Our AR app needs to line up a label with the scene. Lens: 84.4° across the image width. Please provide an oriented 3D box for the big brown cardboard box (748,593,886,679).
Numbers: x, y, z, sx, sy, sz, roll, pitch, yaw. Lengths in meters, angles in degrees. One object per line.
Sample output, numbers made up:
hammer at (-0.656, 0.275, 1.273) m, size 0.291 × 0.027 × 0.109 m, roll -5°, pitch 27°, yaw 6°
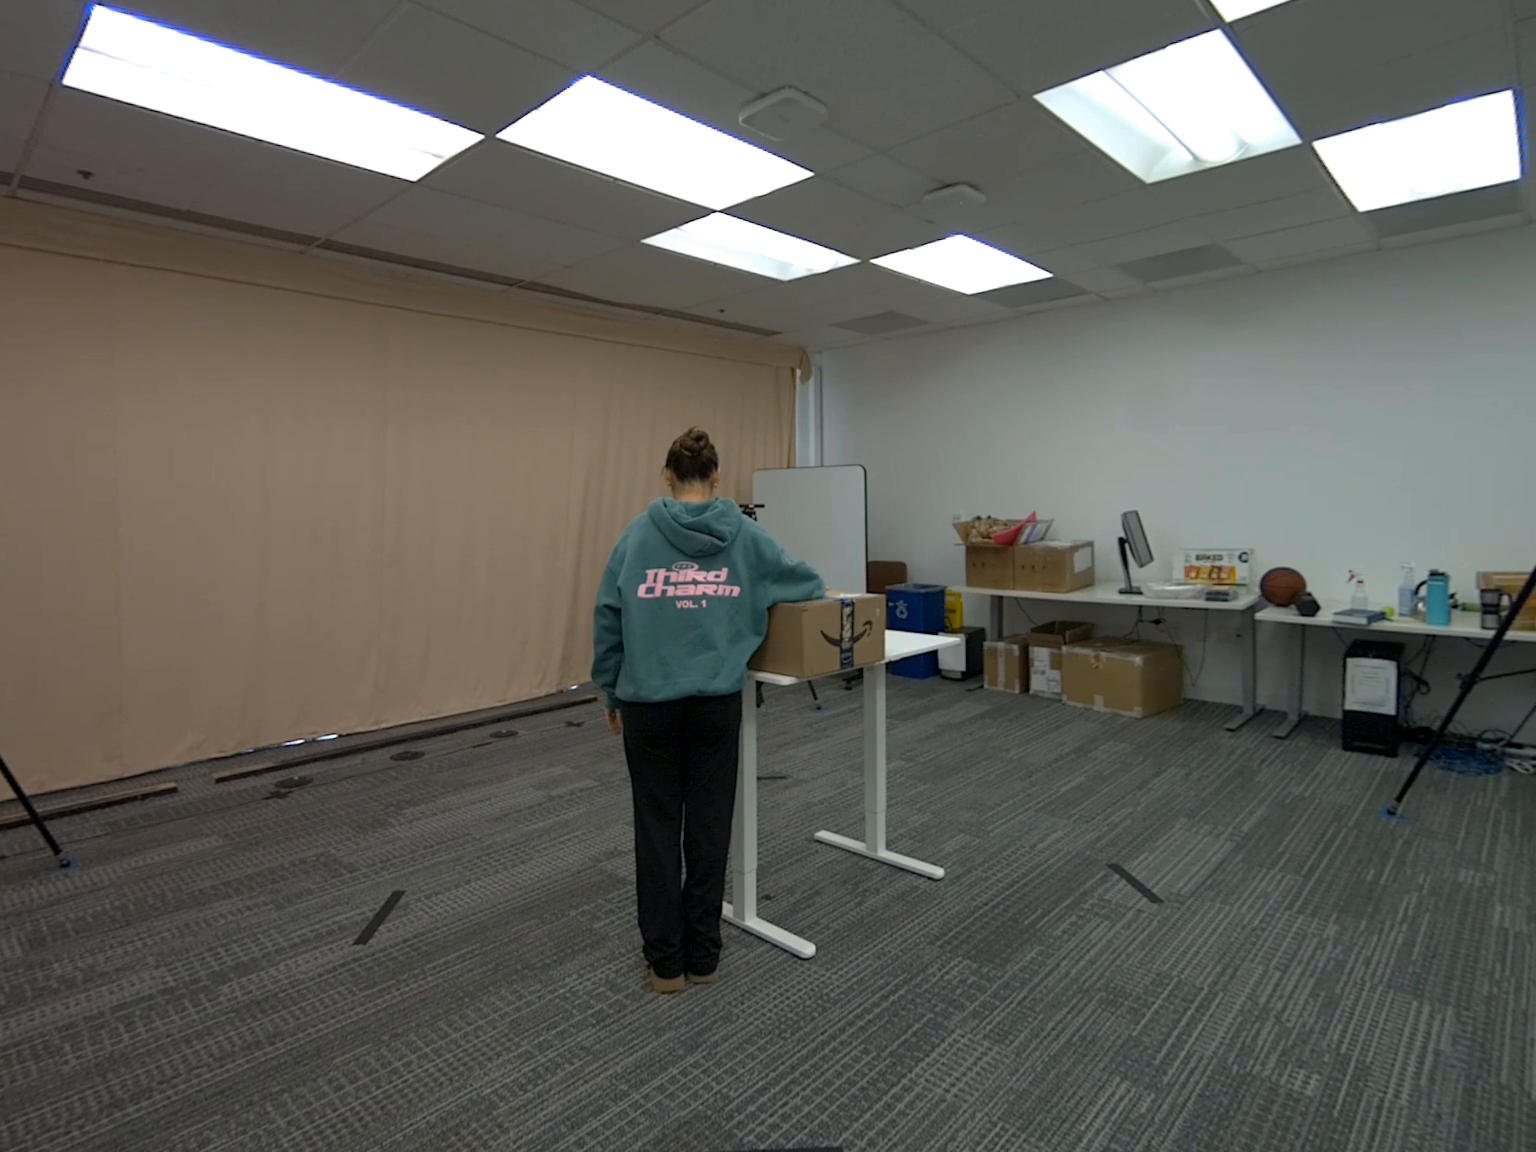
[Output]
big brown cardboard box at (0.033, 0.170, 2.776) m, size 0.608 × 0.232 × 0.405 m, roll 3°, pitch 5°, yaw 43°
